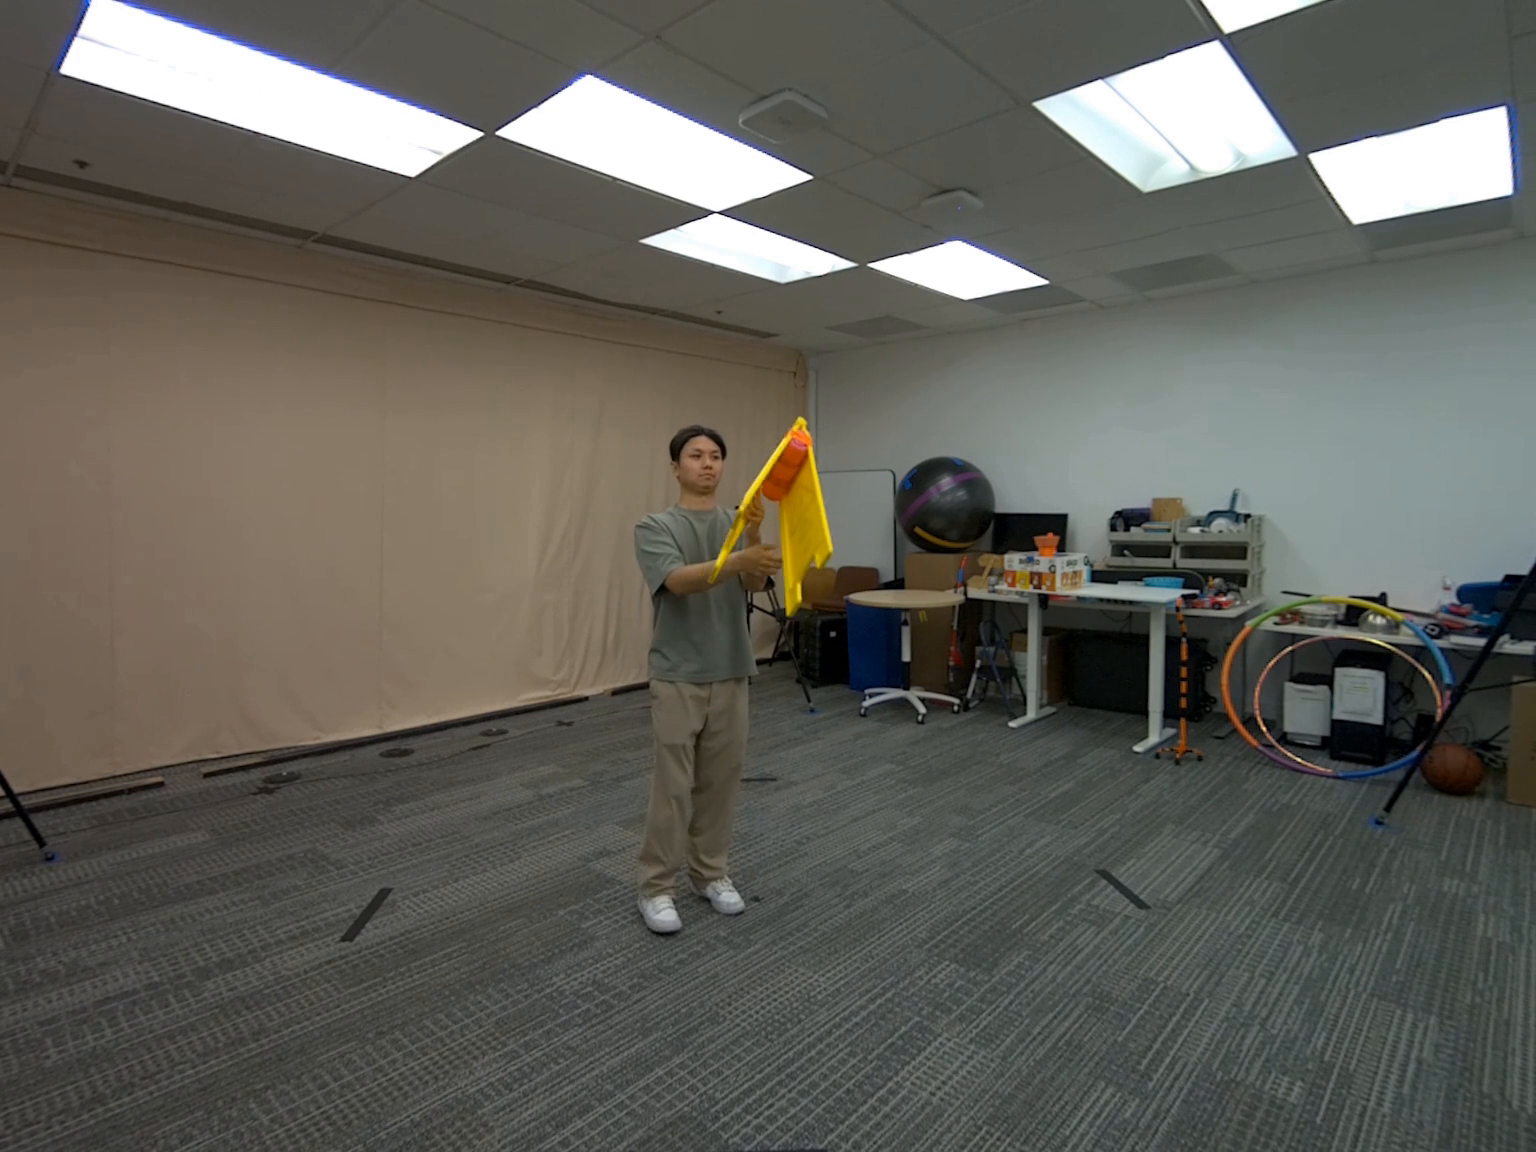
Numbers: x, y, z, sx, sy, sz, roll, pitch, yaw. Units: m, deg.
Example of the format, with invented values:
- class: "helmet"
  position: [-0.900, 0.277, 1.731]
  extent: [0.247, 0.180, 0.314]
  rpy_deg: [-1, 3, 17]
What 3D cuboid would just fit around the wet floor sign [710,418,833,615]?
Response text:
- class: "wet floor sign"
  position: [0.035, -0.231, 2.511]
  extent: [0.287, 0.282, 0.653]
  rpy_deg: [21, 42, -9]
